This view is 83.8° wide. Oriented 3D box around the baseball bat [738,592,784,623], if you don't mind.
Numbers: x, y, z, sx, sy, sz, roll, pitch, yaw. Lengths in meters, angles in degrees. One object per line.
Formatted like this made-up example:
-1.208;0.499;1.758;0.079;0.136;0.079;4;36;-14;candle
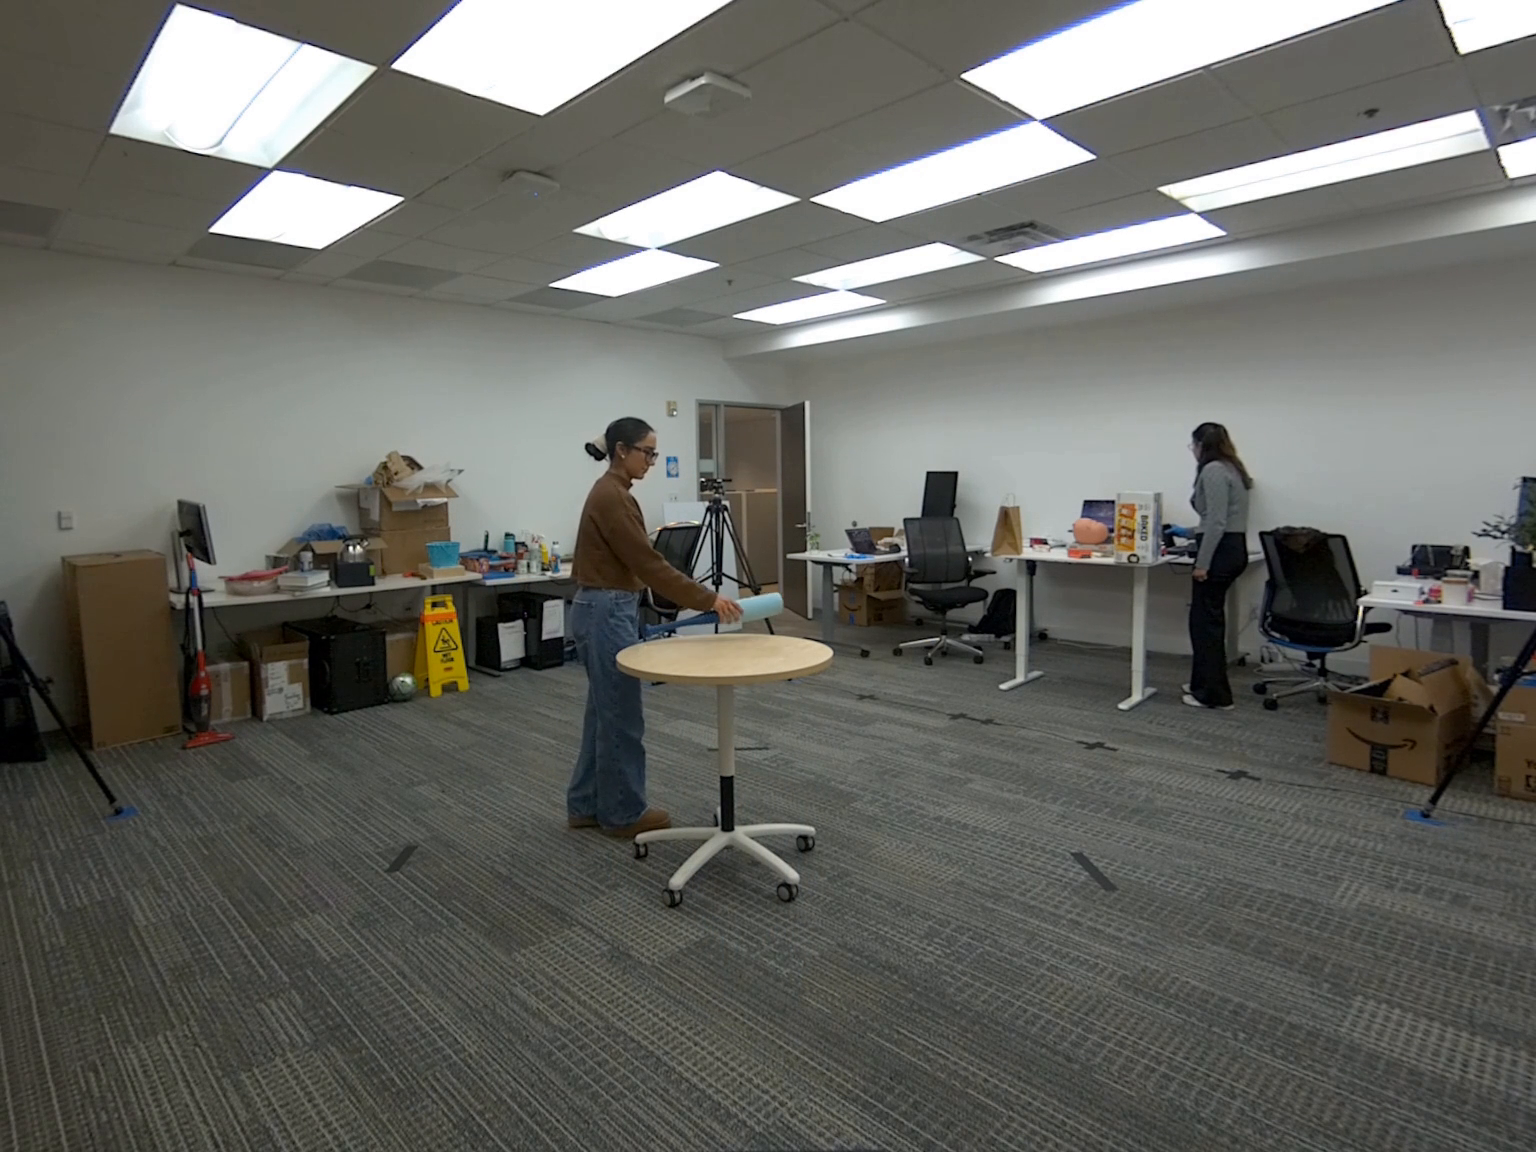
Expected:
-0.202;0.153;3.245;0.539;0.088;0.090;-13;7;-10;baseball bat
